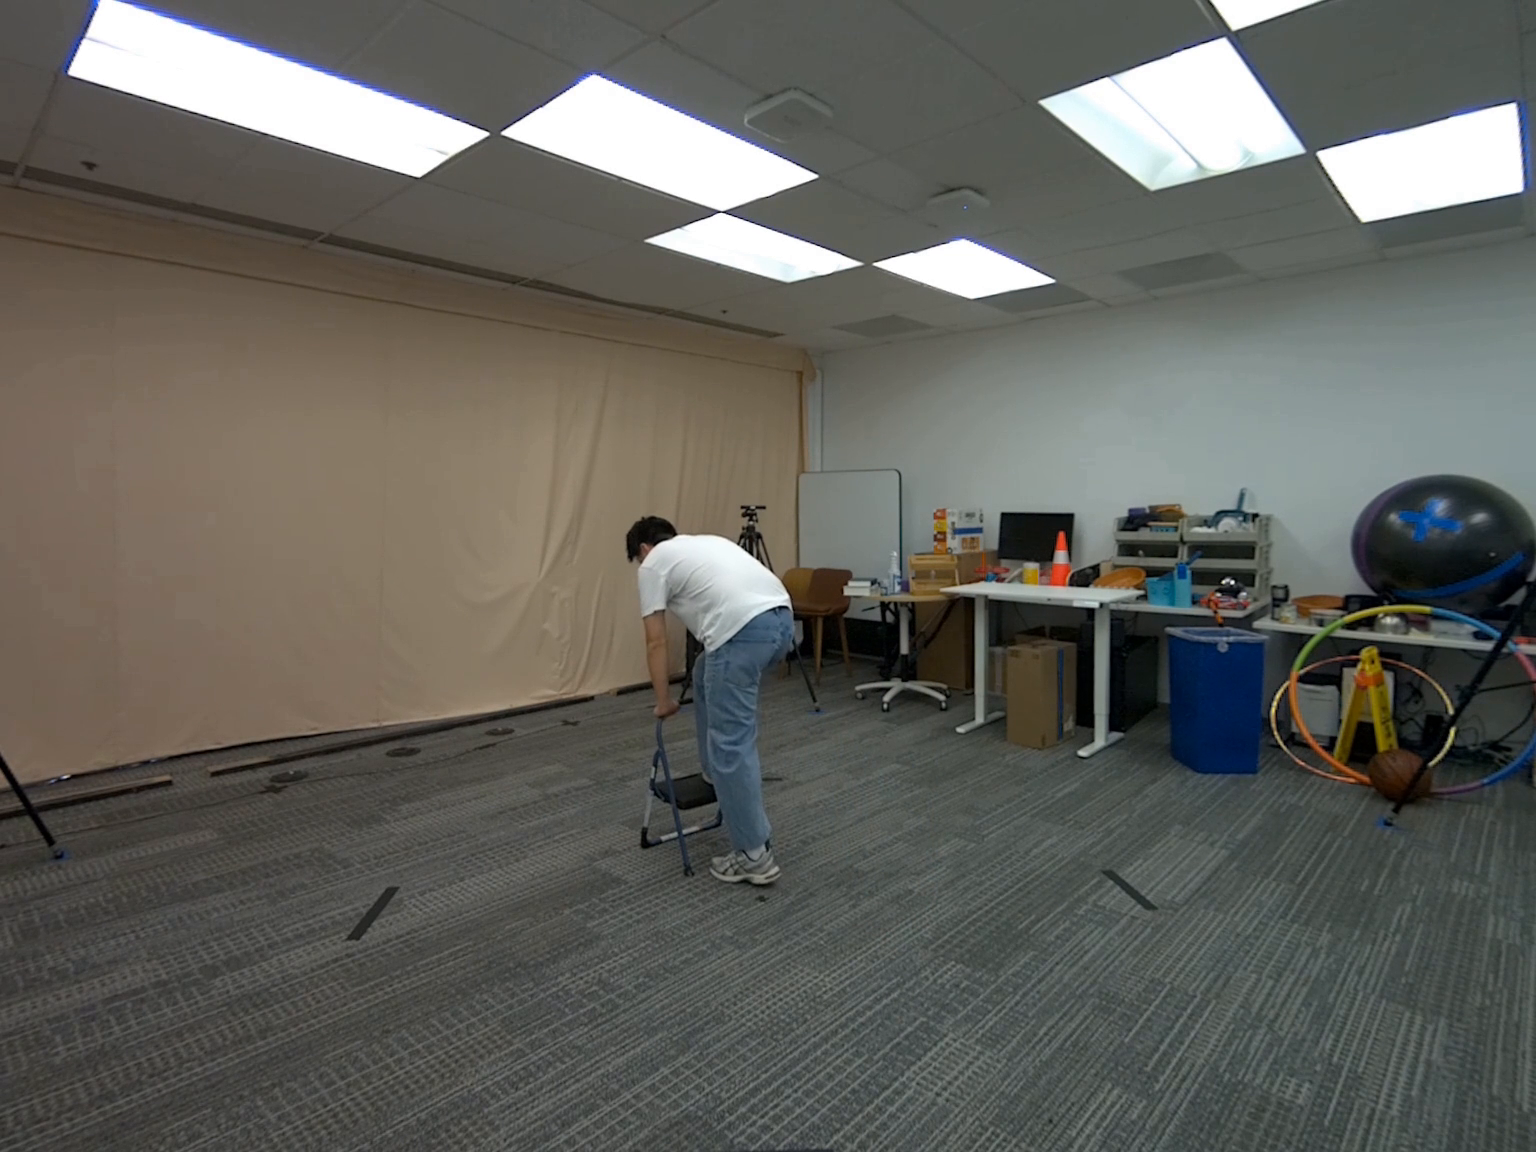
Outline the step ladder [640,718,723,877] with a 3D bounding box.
[{"bbox_3d":[-0.259,0.806,3.420,0.417,0.605,0.361,-3,4,-40],"label":"step ladder"}]
